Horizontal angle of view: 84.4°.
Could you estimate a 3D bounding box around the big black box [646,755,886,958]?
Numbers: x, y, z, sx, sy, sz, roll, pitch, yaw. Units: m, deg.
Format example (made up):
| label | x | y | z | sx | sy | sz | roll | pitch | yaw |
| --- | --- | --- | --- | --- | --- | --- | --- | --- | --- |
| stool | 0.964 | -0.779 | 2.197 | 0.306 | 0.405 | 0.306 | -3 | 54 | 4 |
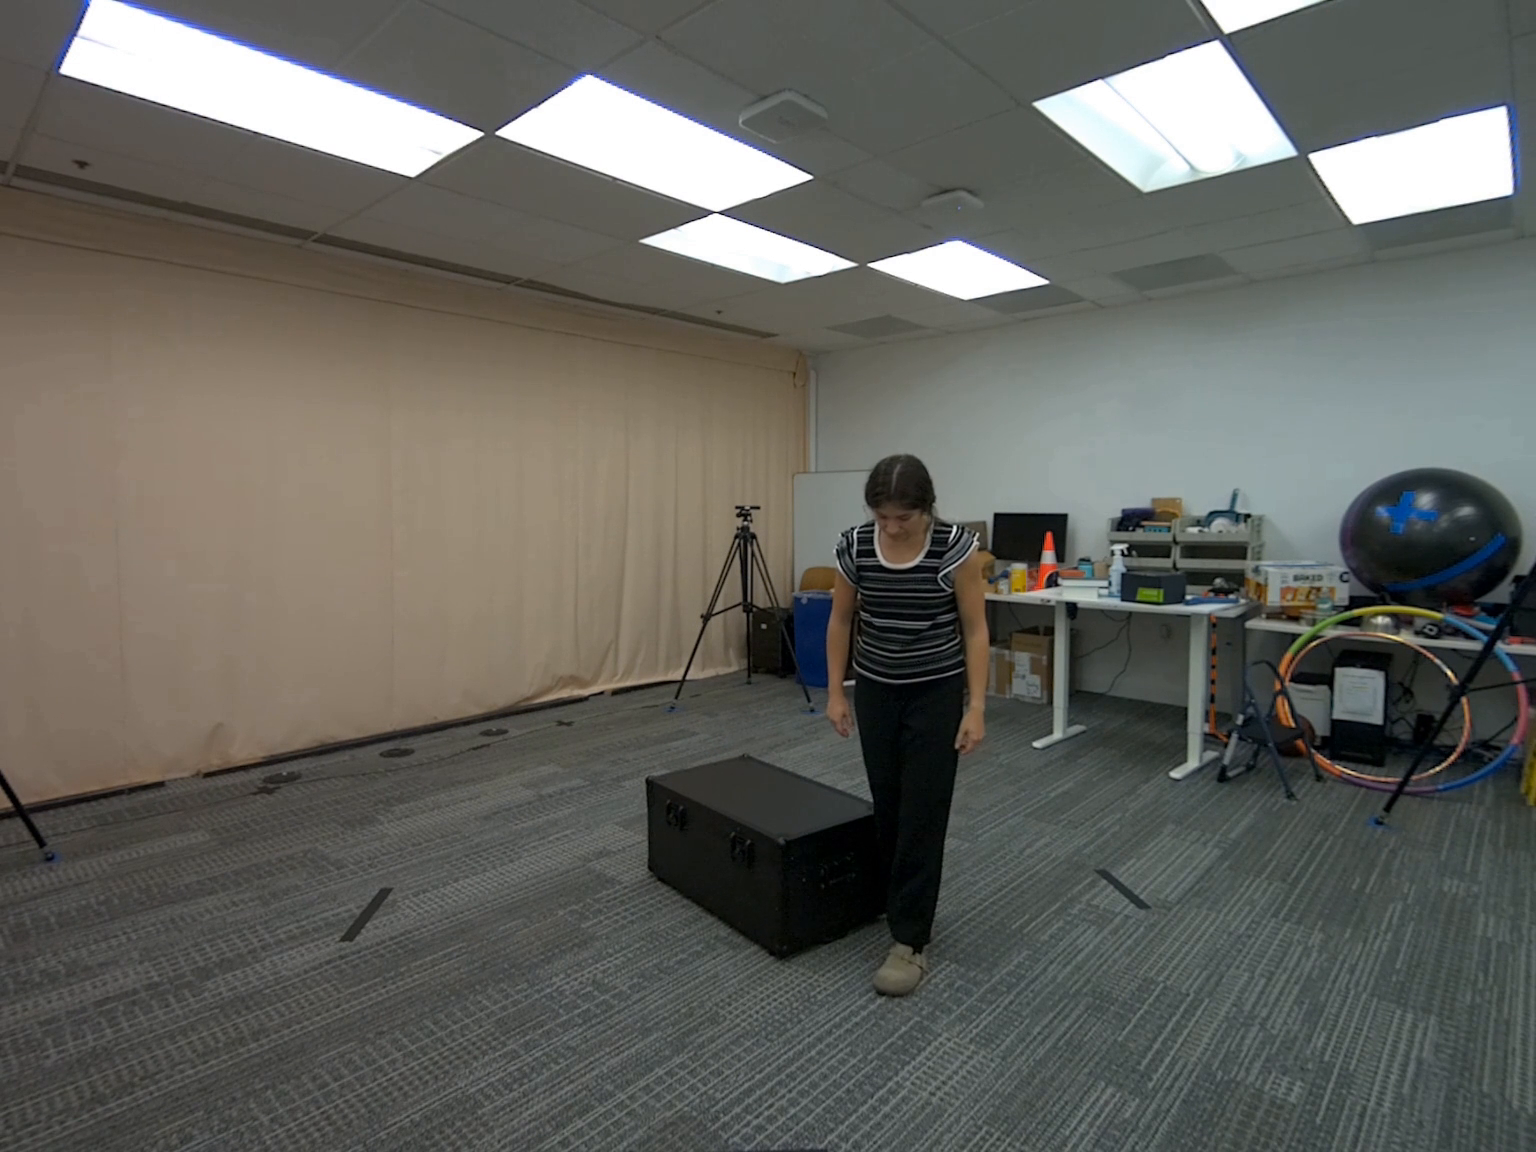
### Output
| label | x | y | z | sx | sy | sz | roll | pitch | yaw |
| --- | --- | --- | --- | --- | --- | --- | --- | --- | --- |
| big black box | -0.042 | 0.951 | 3.028 | 0.506 | 0.395 | 0.890 | -3 | 6 | -38 |
